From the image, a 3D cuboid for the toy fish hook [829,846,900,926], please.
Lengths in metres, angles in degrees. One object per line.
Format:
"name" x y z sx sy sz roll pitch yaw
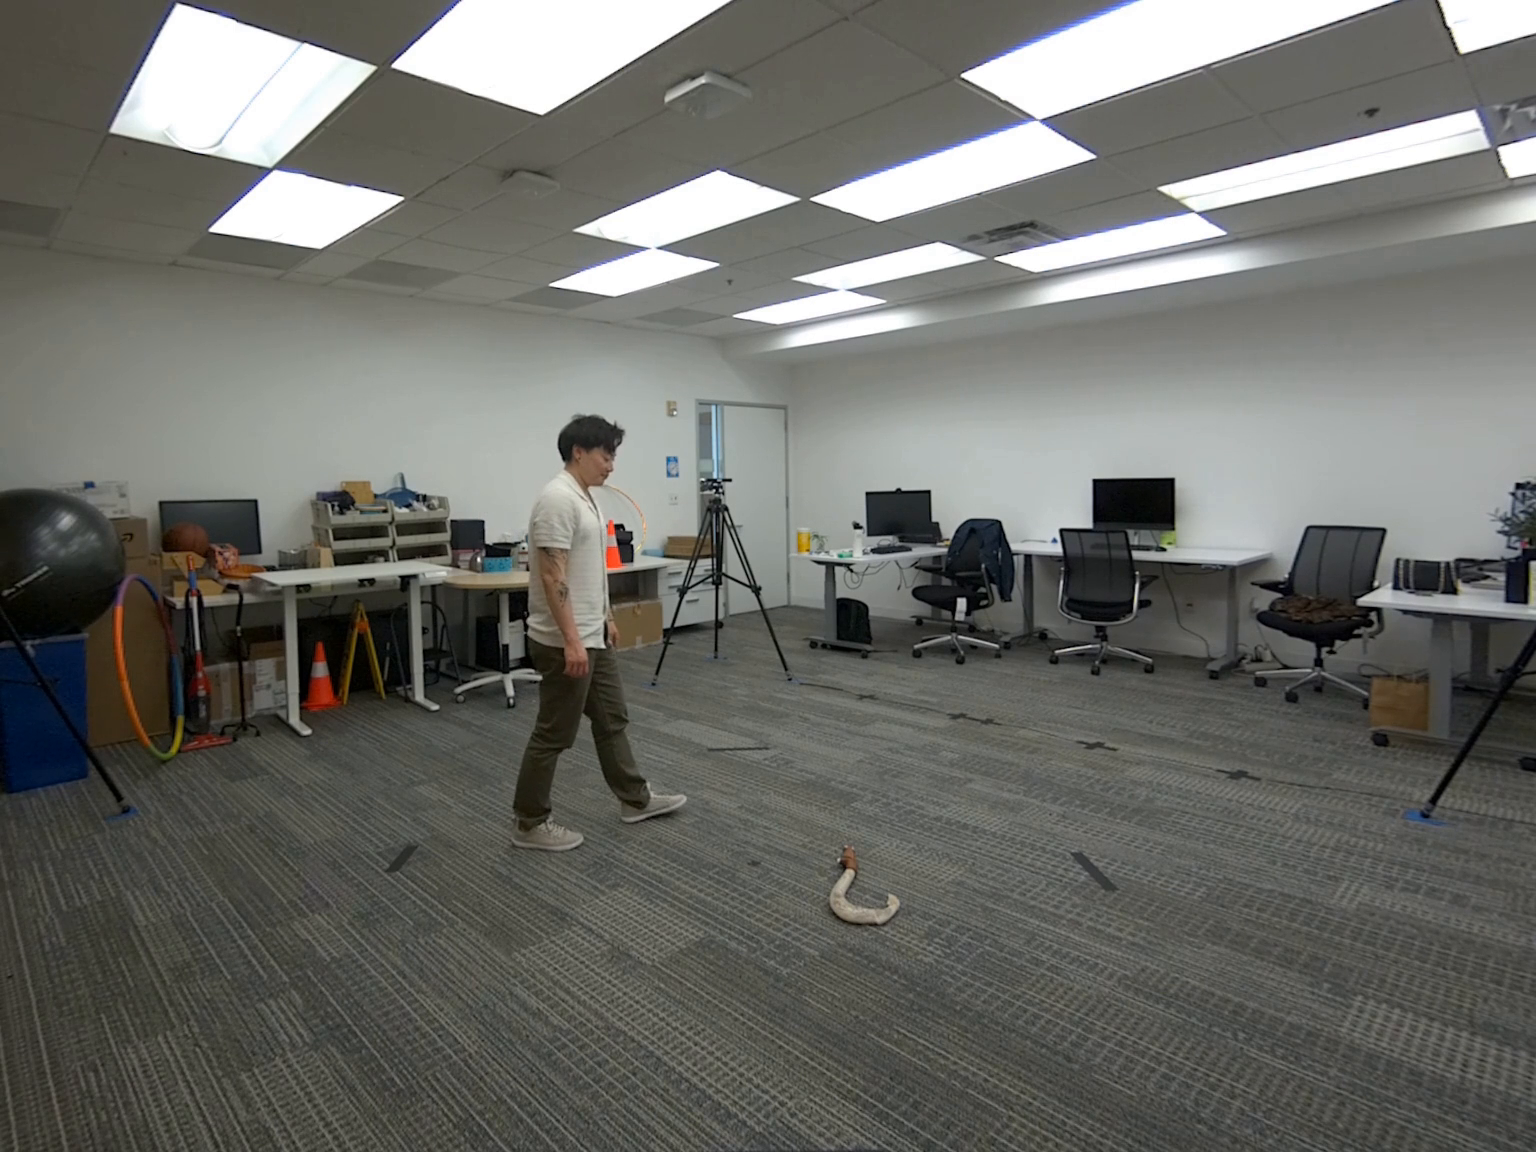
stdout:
"toy fish hook" 0.327 1.040 2.908 0.226 0.048 0.505 7 8 6
